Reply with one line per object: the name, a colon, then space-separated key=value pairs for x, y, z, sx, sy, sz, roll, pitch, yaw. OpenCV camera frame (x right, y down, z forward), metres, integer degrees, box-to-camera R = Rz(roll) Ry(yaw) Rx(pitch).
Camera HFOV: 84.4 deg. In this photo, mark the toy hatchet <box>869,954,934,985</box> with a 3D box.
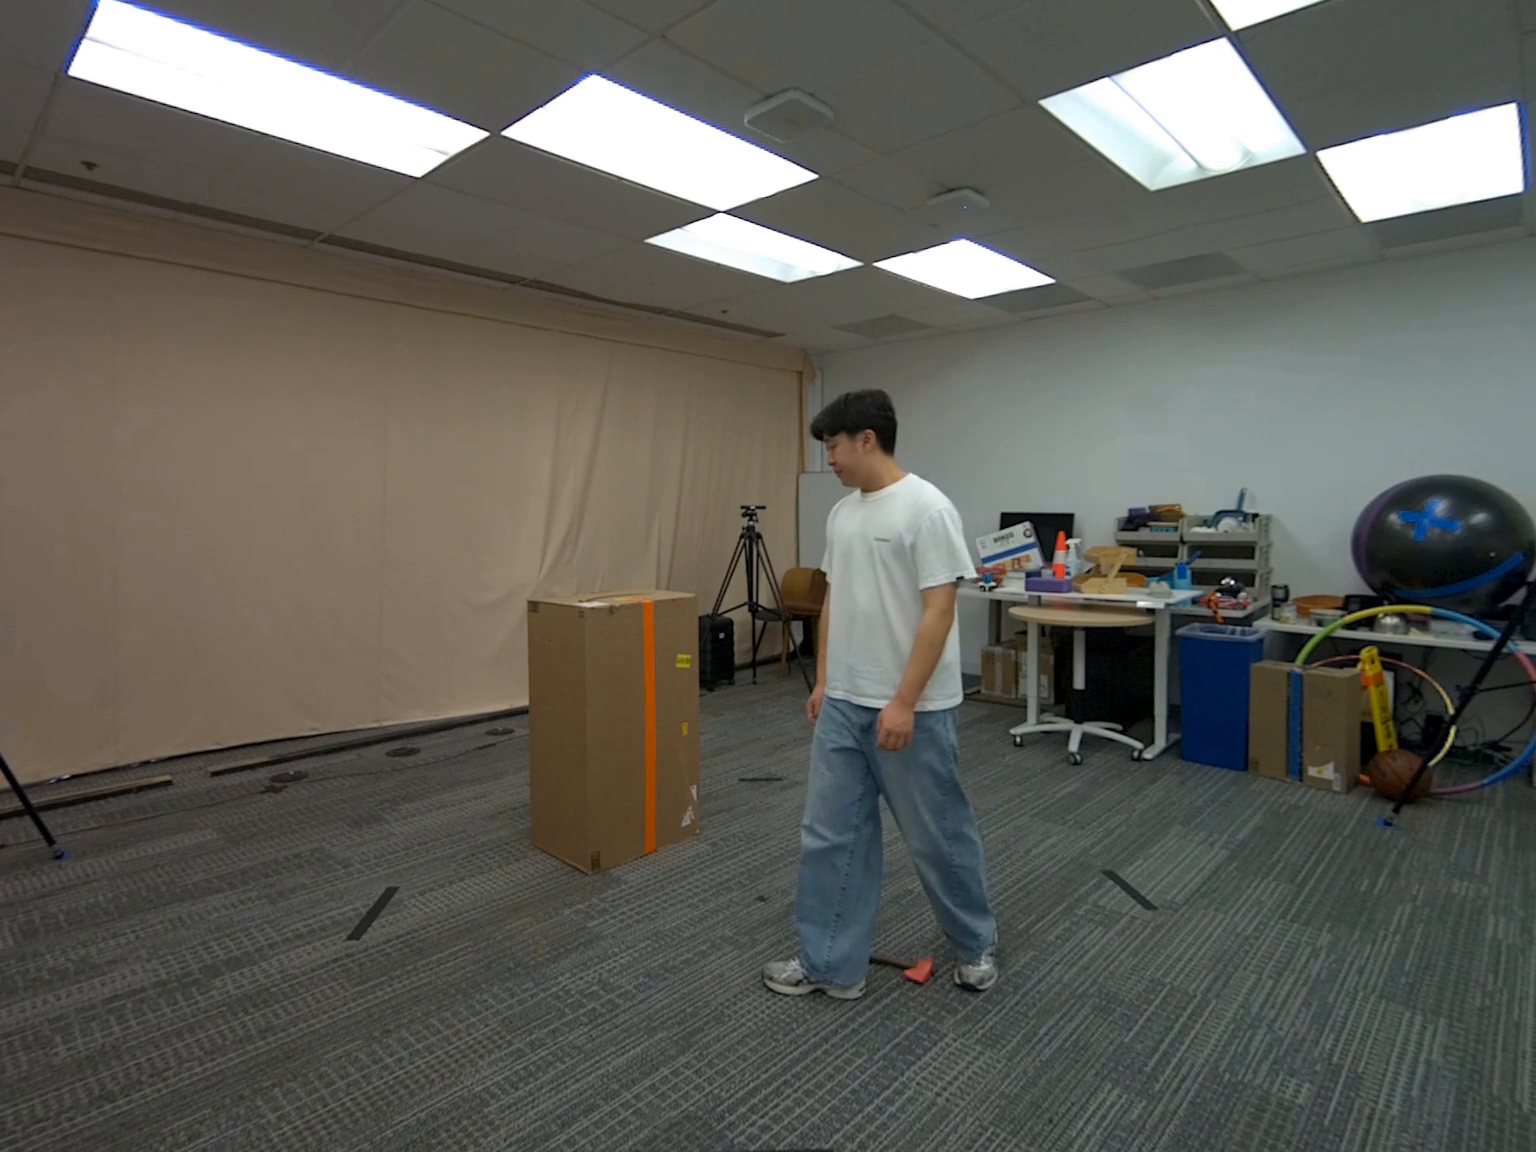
toy hatchet: x=0.369 y=1.176 z=2.509 sx=0.272 sy=0.029 sz=0.130 roll=-2 pitch=5 yaw=7
